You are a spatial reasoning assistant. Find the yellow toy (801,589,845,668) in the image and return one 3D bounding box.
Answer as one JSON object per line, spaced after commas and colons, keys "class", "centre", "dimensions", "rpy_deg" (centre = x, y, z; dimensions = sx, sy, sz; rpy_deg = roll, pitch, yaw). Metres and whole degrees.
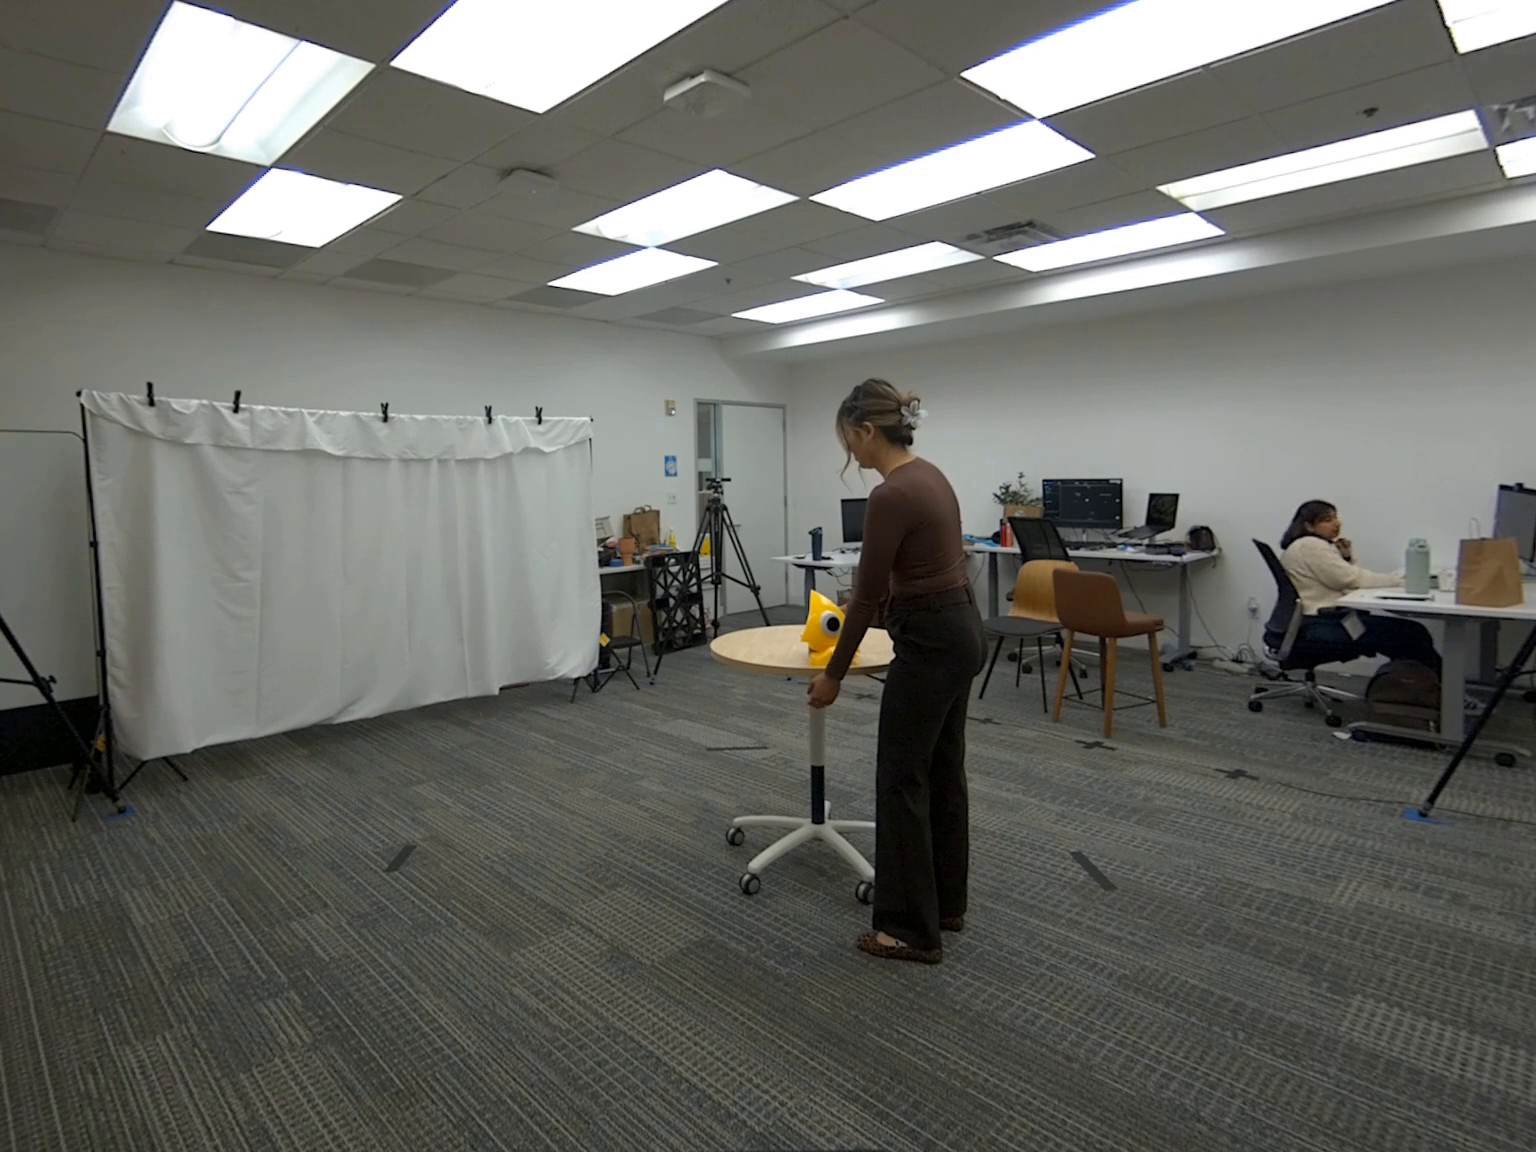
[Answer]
{"class": "yellow toy", "centre": [0.208, 0.160, 2.806], "dimensions": [0.195, 0.229, 0.204], "rpy_deg": [0, 7, 8]}
